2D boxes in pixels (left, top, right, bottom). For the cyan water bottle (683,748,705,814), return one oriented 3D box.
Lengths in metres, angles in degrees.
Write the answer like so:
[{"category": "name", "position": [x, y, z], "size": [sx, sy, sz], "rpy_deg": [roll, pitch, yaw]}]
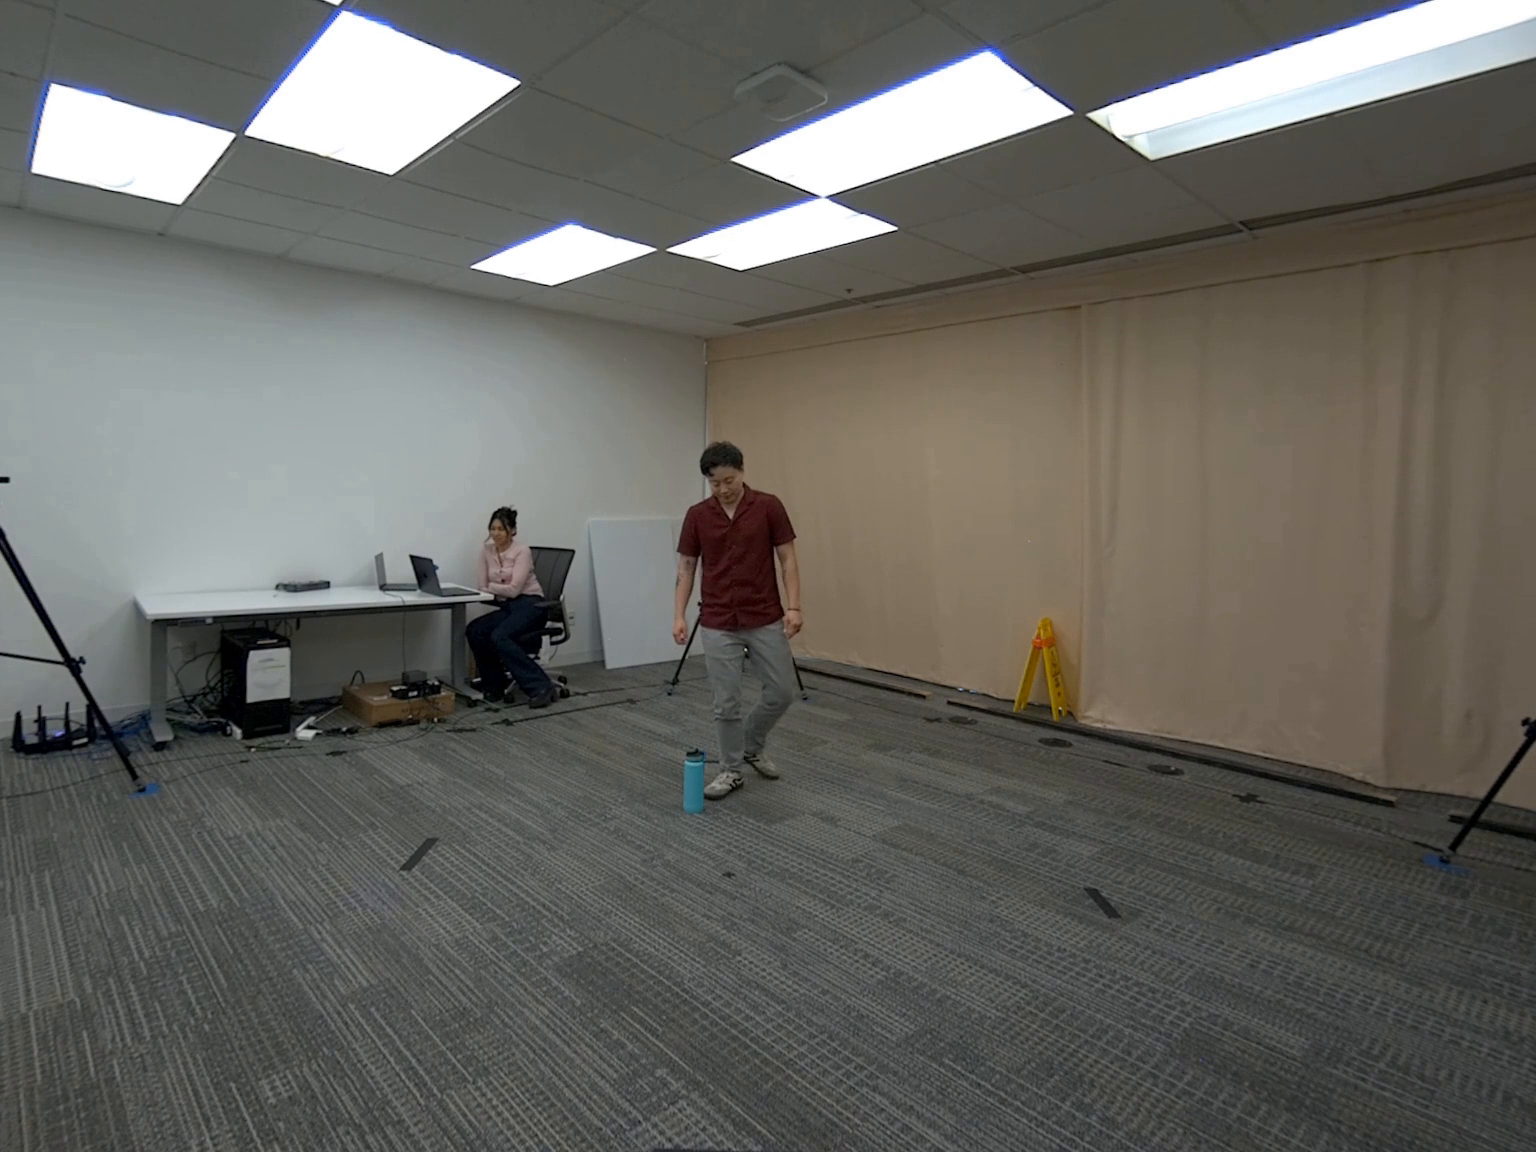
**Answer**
[{"category": "cyan water bottle", "position": [-0.340, 0.904, 3.744], "size": [0.092, 0.283, 0.092], "rpy_deg": [2, 3, -2]}]
